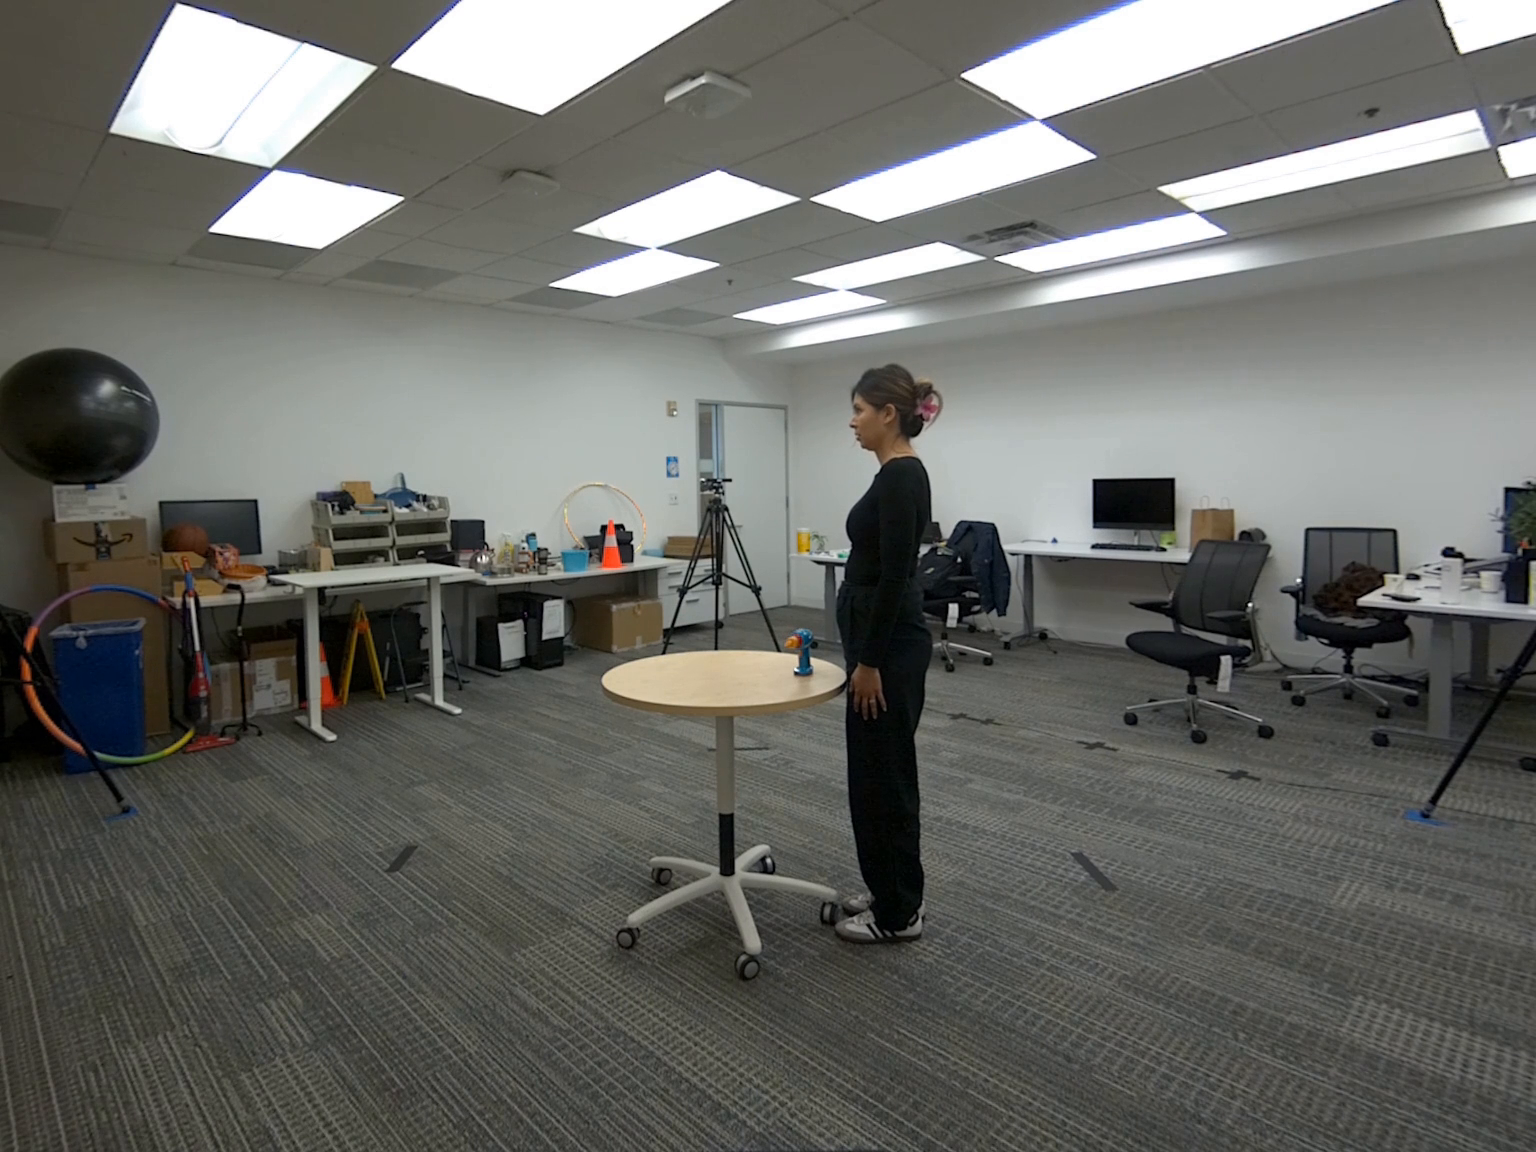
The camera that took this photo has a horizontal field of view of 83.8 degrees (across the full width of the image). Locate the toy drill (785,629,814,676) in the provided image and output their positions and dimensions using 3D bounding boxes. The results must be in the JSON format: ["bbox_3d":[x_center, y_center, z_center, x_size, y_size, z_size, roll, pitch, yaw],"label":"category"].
[{"bbox_3d":[0.103,0.237,2.635,0.062,0.145,0.166,1,5,26],"label":"toy drill"}]
